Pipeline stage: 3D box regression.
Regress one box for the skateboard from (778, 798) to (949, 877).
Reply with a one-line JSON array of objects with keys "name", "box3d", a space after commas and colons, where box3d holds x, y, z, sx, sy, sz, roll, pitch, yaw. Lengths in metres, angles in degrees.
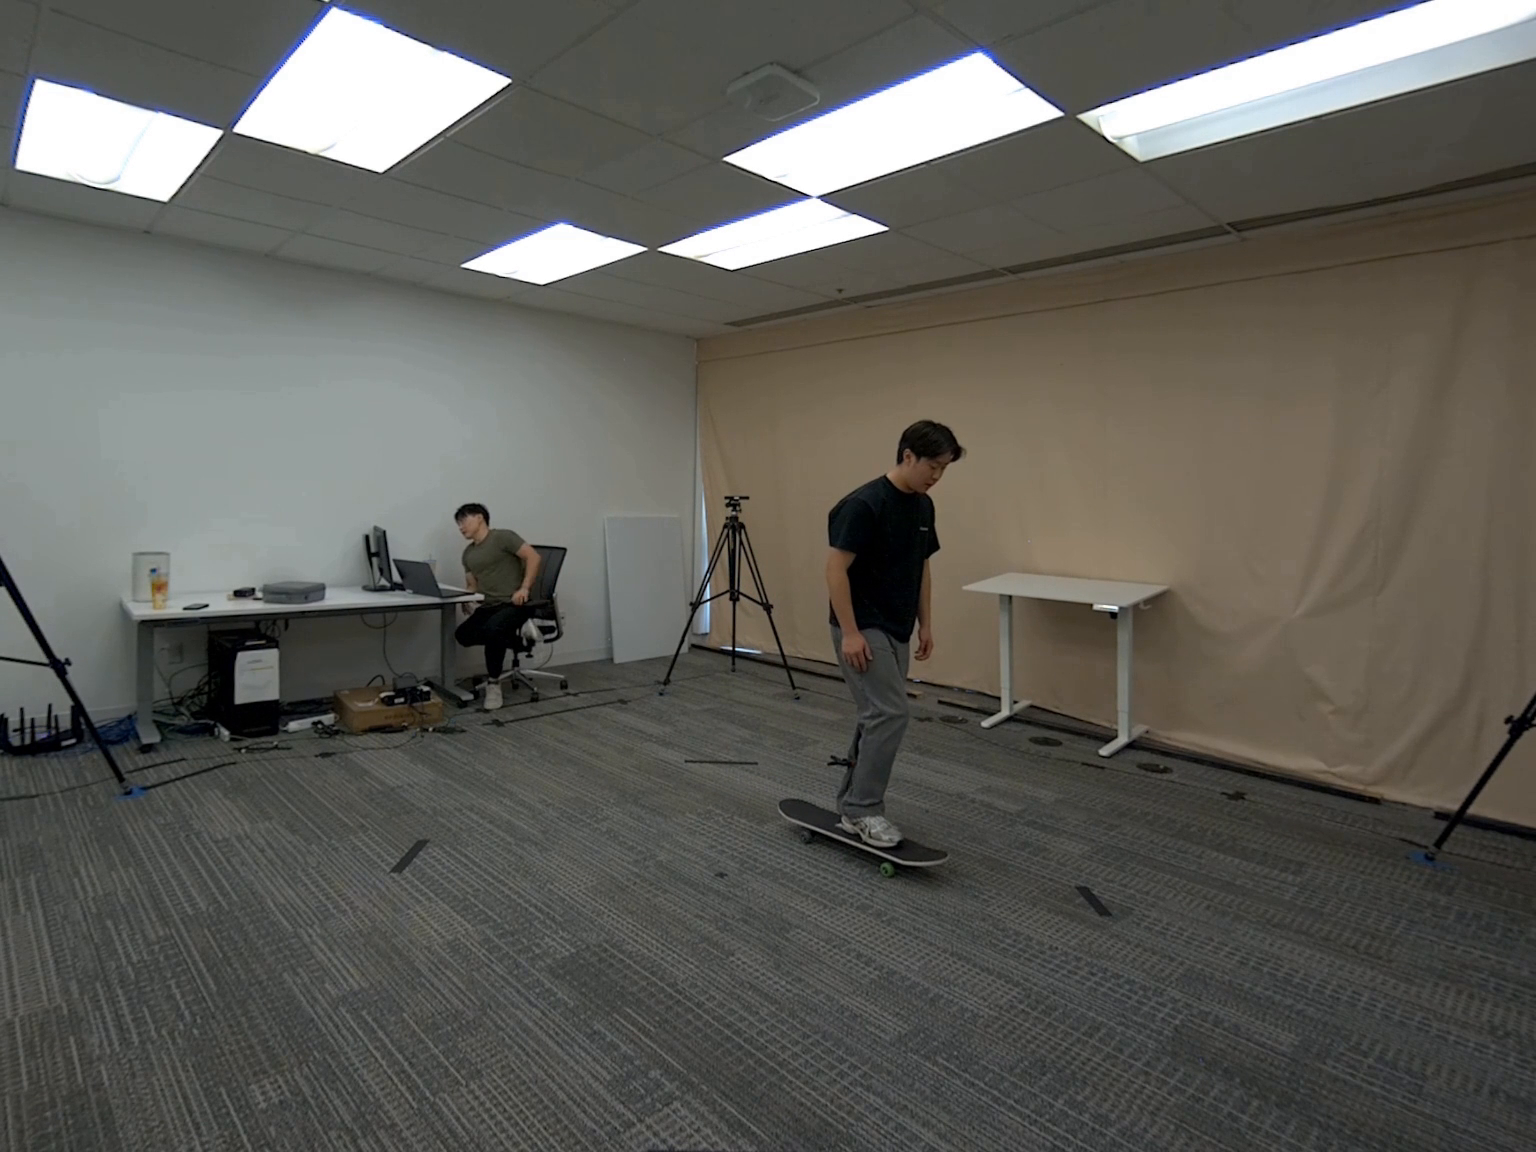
[{"name": "skateboard", "box3d": [0.342, 1.047, 3.323, 0.805, 0.110, 0.189, 6, 6, 44]}]
